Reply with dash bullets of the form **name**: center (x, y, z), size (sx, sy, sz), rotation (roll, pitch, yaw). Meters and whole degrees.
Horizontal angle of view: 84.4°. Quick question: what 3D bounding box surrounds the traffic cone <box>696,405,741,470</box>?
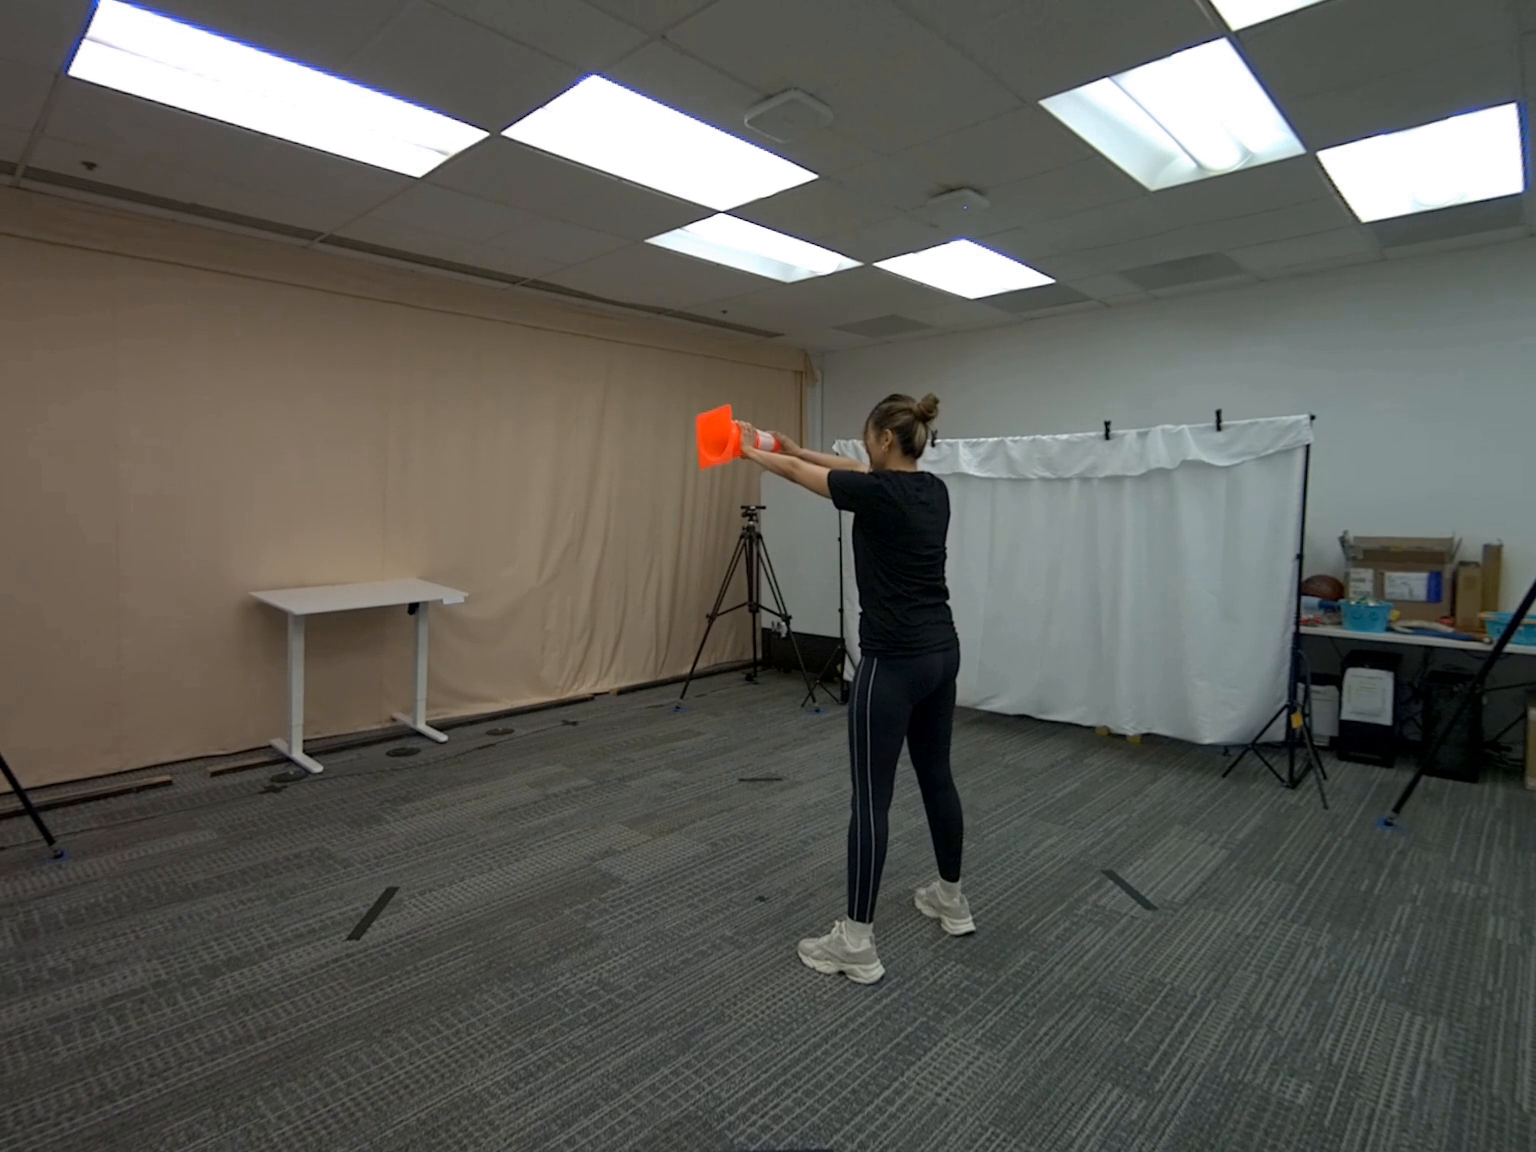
- **traffic cone**: center (-0.048, -0.484, 3.093), size (0.371, 0.206, 0.209), rotation (2, -6, -39)
